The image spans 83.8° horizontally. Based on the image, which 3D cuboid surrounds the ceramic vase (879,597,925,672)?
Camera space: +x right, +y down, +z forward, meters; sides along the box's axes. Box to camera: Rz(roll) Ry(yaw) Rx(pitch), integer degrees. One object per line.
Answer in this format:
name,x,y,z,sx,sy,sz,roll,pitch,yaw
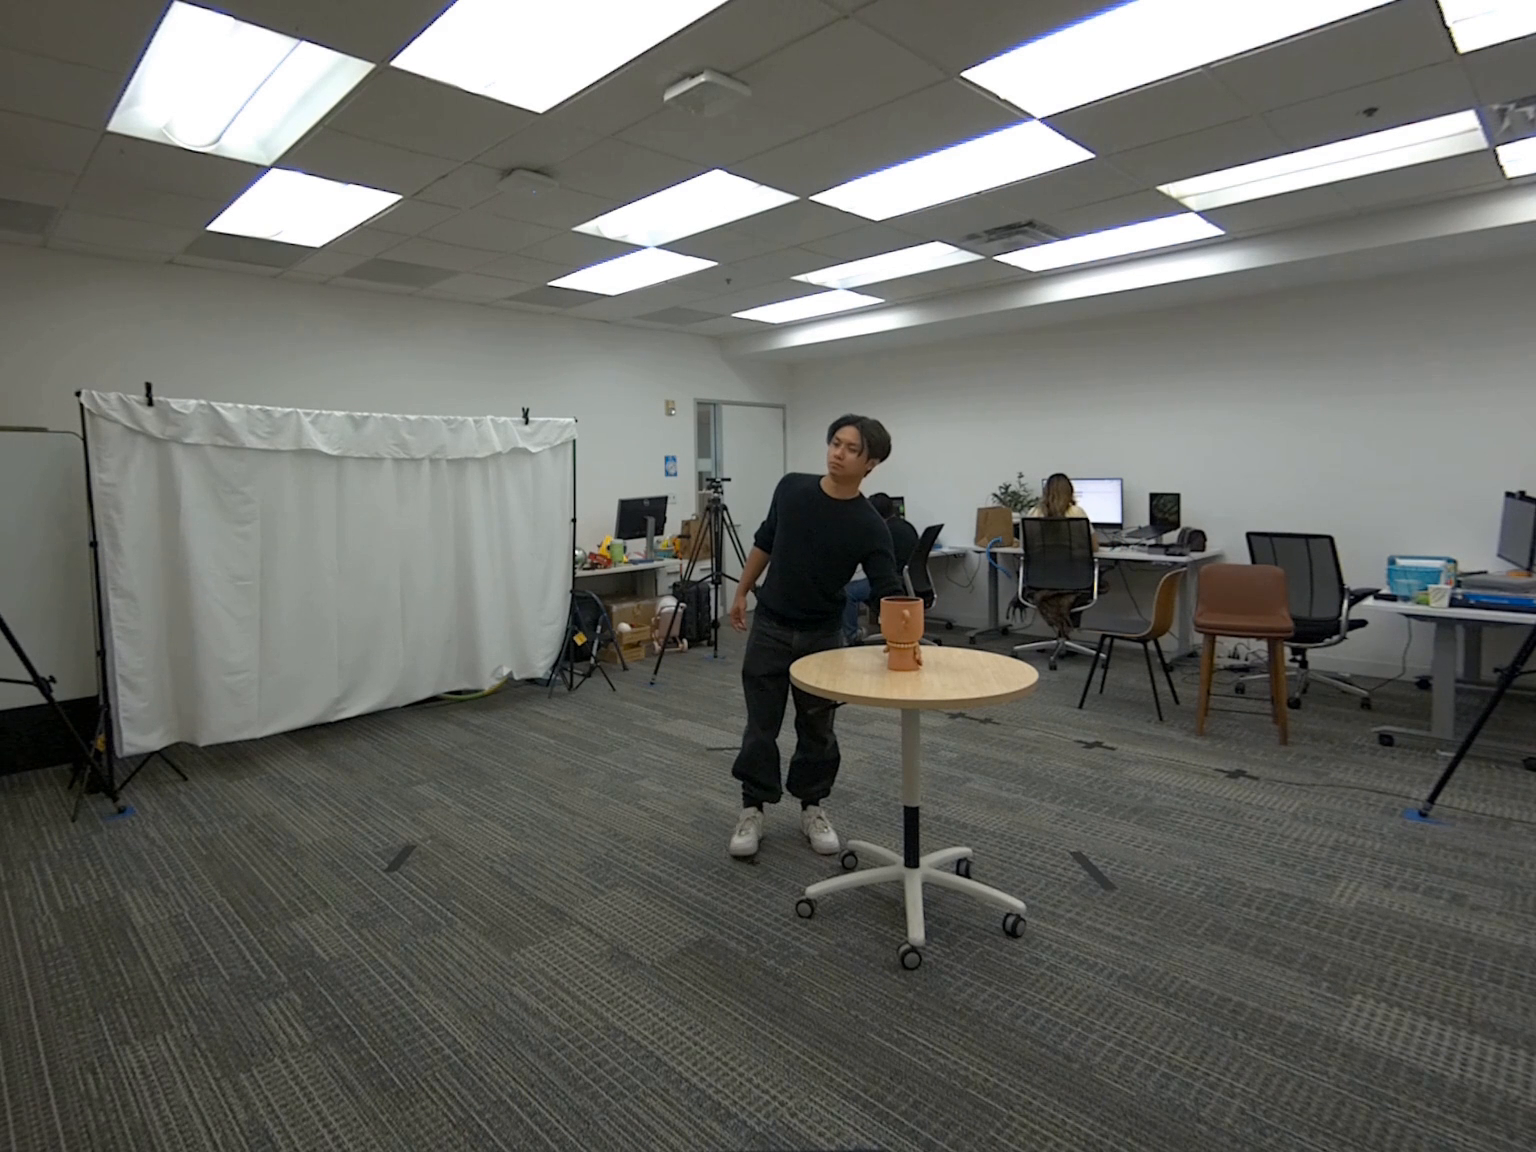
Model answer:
ceramic vase,0.432,0.185,2.726,0.139,0.219,0.154,3,6,41
